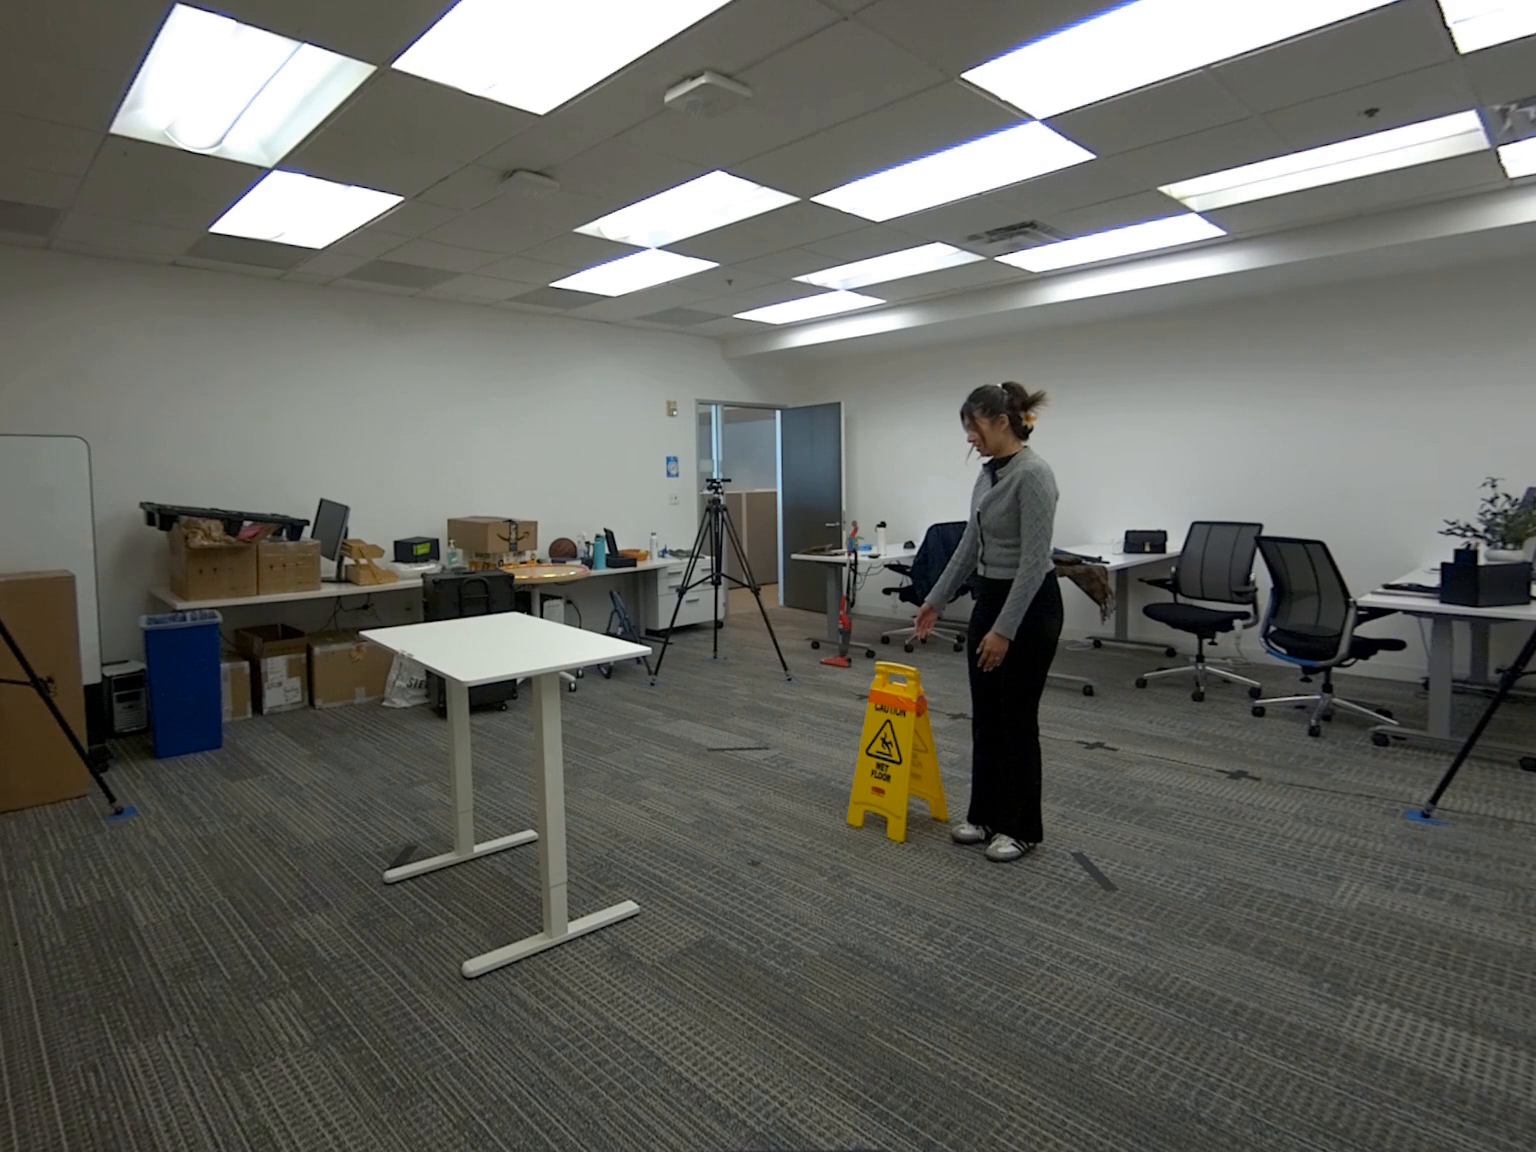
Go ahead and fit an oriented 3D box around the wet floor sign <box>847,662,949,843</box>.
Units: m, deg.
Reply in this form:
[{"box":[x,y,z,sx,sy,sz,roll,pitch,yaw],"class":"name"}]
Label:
[{"box":[0.521,0.678,3.440,0.282,0.644,0.291,-5,6,-44],"class":"wet floor sign"}]
